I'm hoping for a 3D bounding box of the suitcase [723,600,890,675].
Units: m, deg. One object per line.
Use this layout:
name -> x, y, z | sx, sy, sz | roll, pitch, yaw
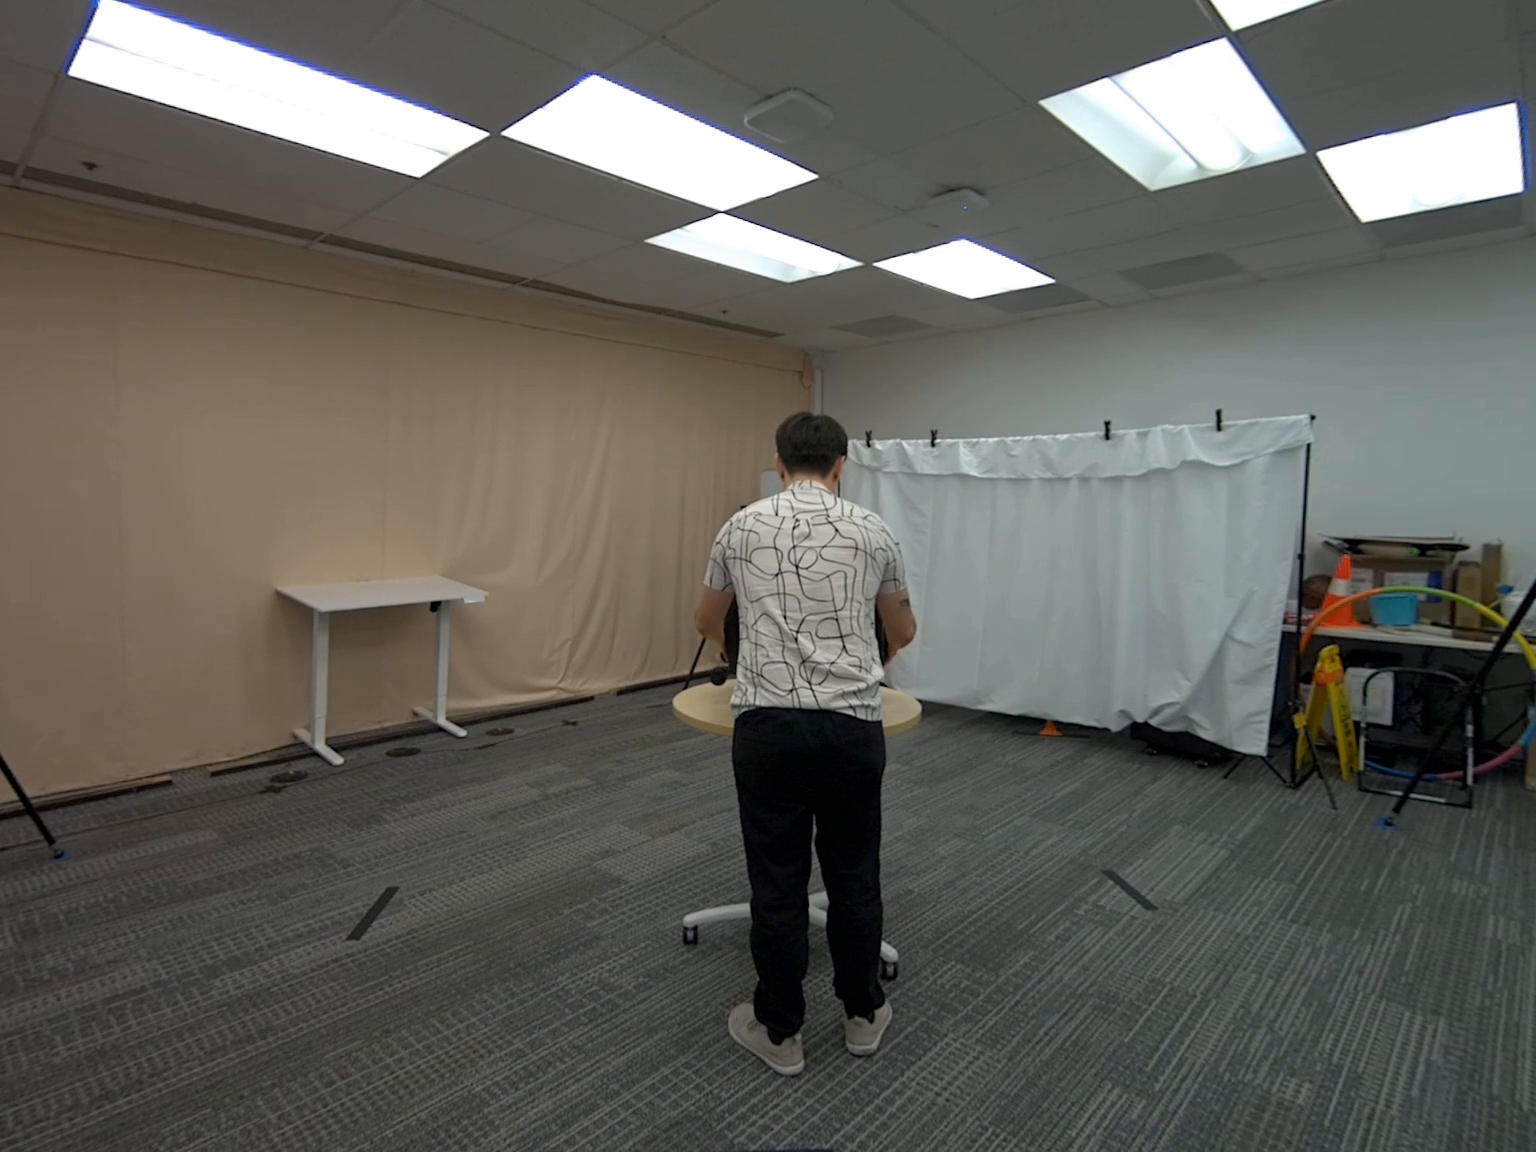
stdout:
suitcase -> 0.107, 0.130, 2.646 | 0.555, 0.373, 0.247 | 0, 11, 10
